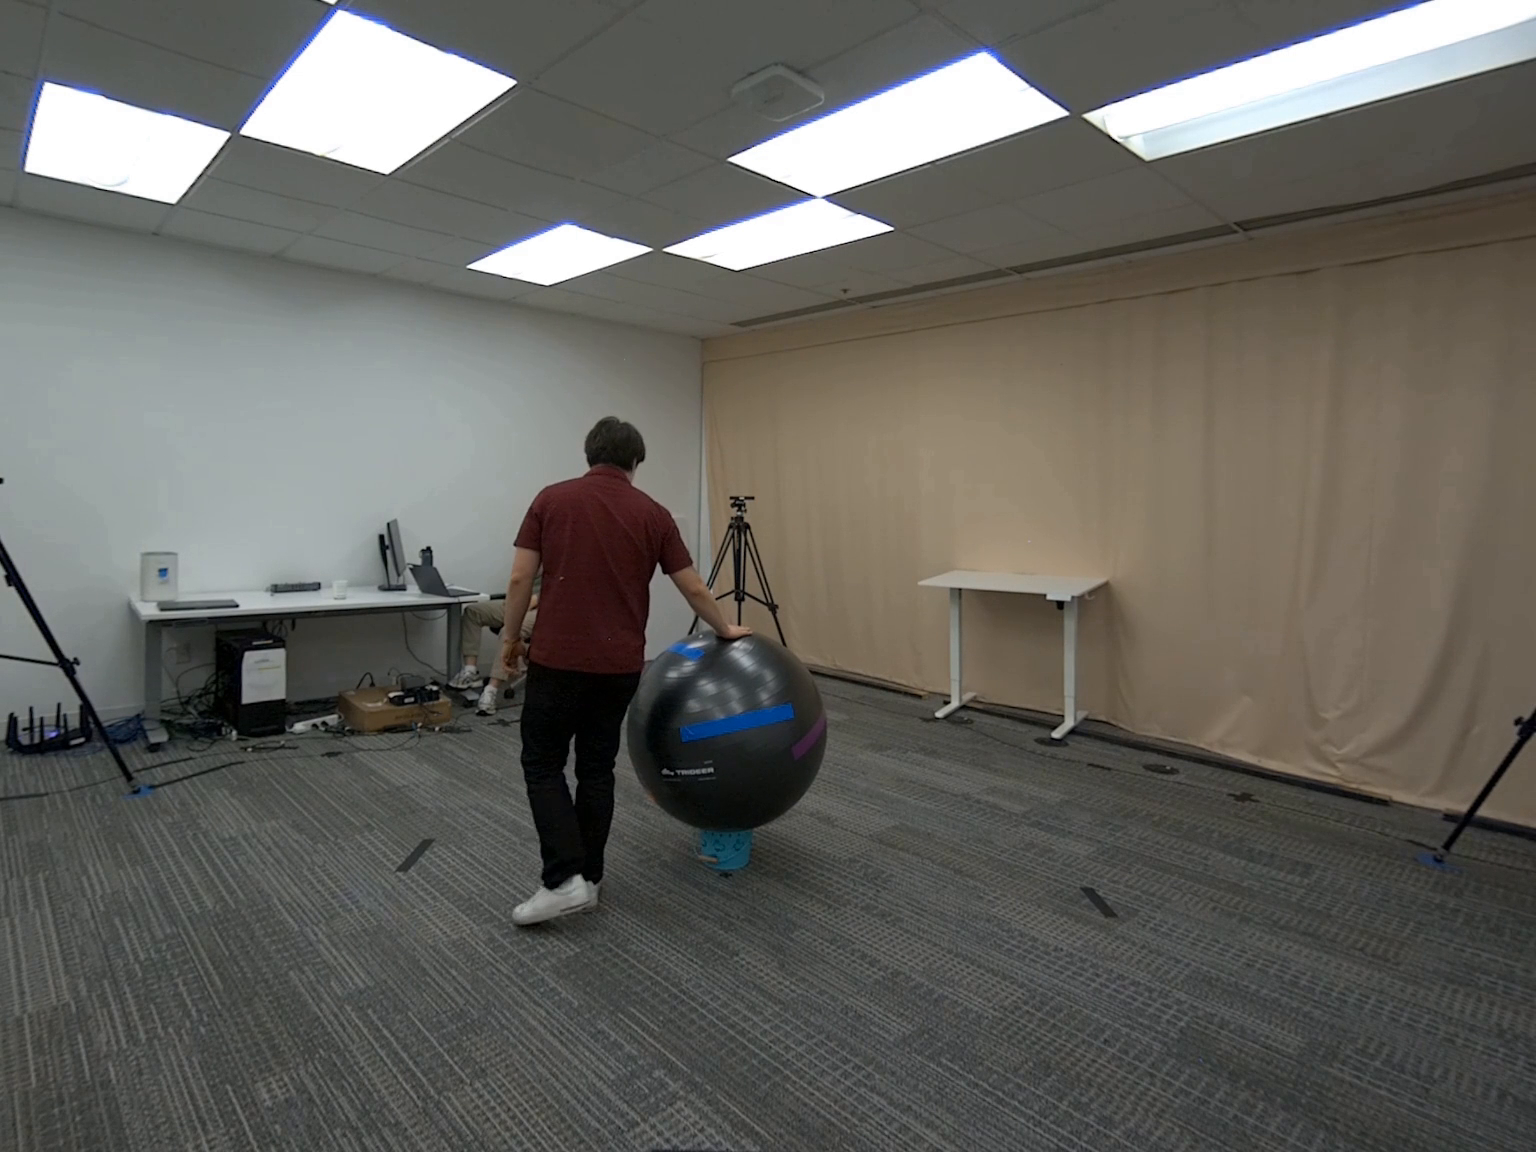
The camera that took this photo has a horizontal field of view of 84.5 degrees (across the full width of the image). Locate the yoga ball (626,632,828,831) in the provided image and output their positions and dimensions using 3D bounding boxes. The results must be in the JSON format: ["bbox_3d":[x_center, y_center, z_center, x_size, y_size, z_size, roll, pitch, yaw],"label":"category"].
[{"bbox_3d":[-0.163,0.584,3.210,0.757,0.756,0.761,1,4,-1],"label":"yoga ball"}]
